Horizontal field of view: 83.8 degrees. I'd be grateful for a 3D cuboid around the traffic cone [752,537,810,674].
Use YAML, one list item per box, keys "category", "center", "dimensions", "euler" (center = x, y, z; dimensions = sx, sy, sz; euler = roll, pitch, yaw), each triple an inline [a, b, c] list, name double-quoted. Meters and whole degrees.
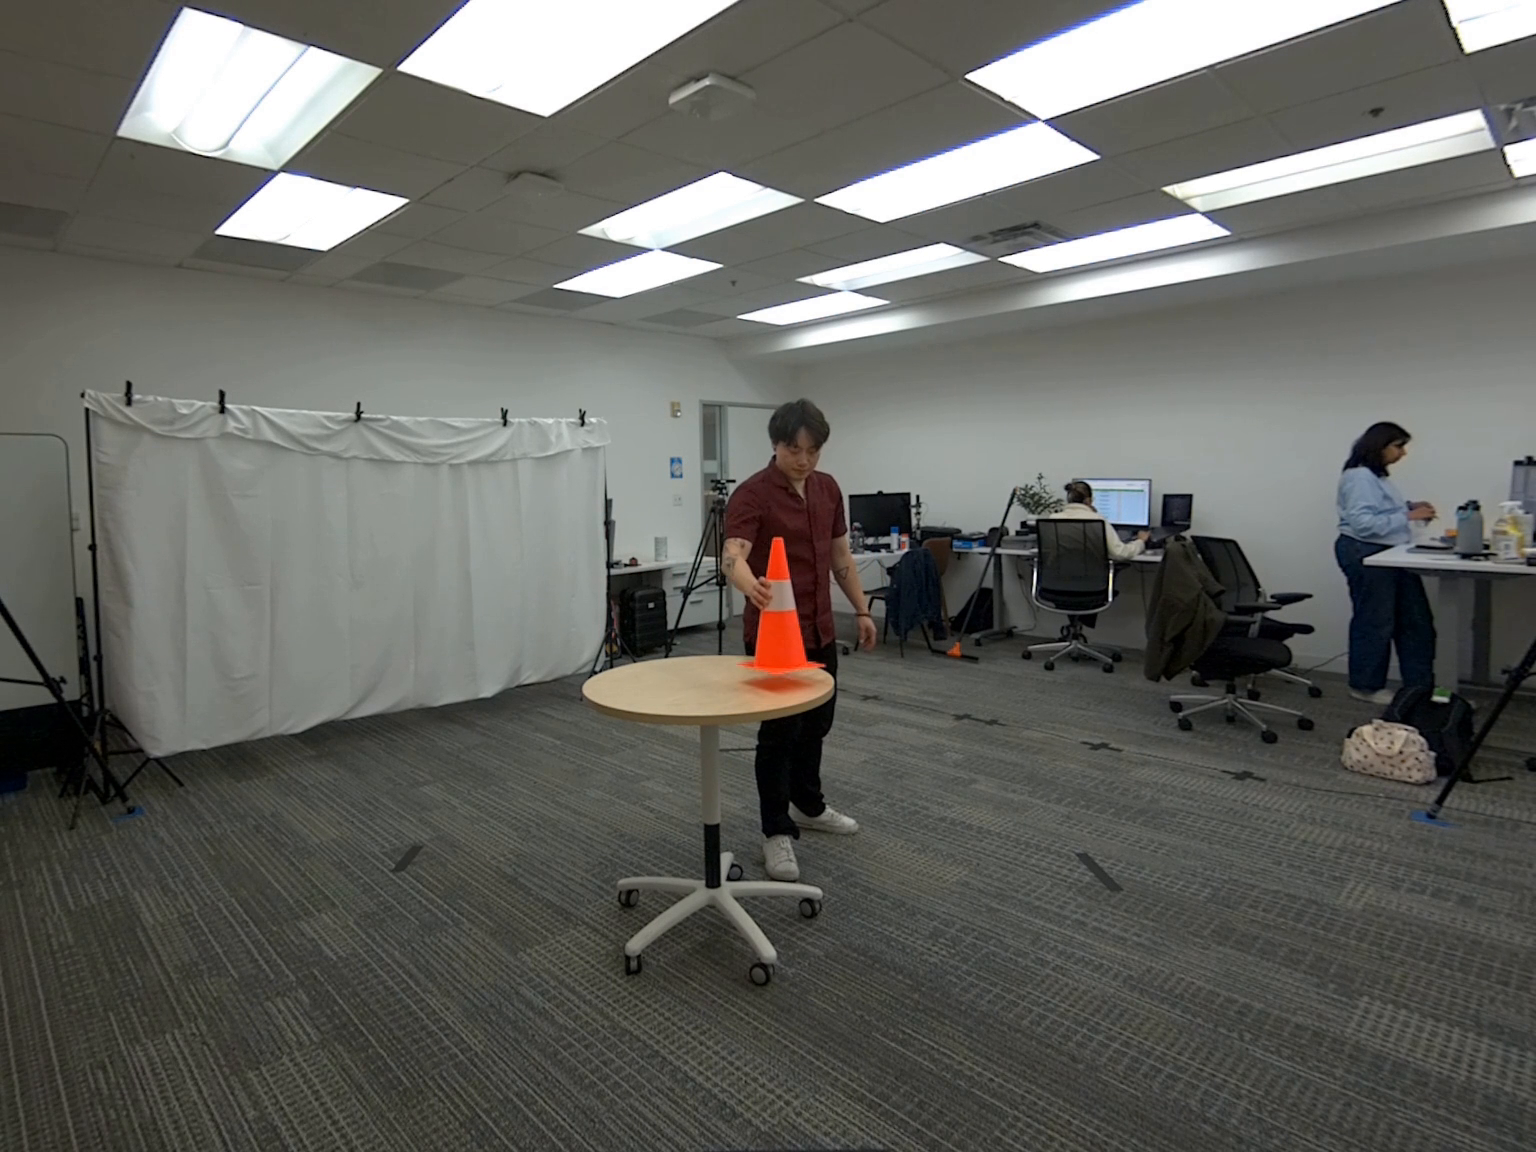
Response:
- category: "traffic cone"
  center: [0.036, 0.078, 2.560]
  dimensions: [0.211, 0.383, 0.198]
  euler: [0, 1, 38]
